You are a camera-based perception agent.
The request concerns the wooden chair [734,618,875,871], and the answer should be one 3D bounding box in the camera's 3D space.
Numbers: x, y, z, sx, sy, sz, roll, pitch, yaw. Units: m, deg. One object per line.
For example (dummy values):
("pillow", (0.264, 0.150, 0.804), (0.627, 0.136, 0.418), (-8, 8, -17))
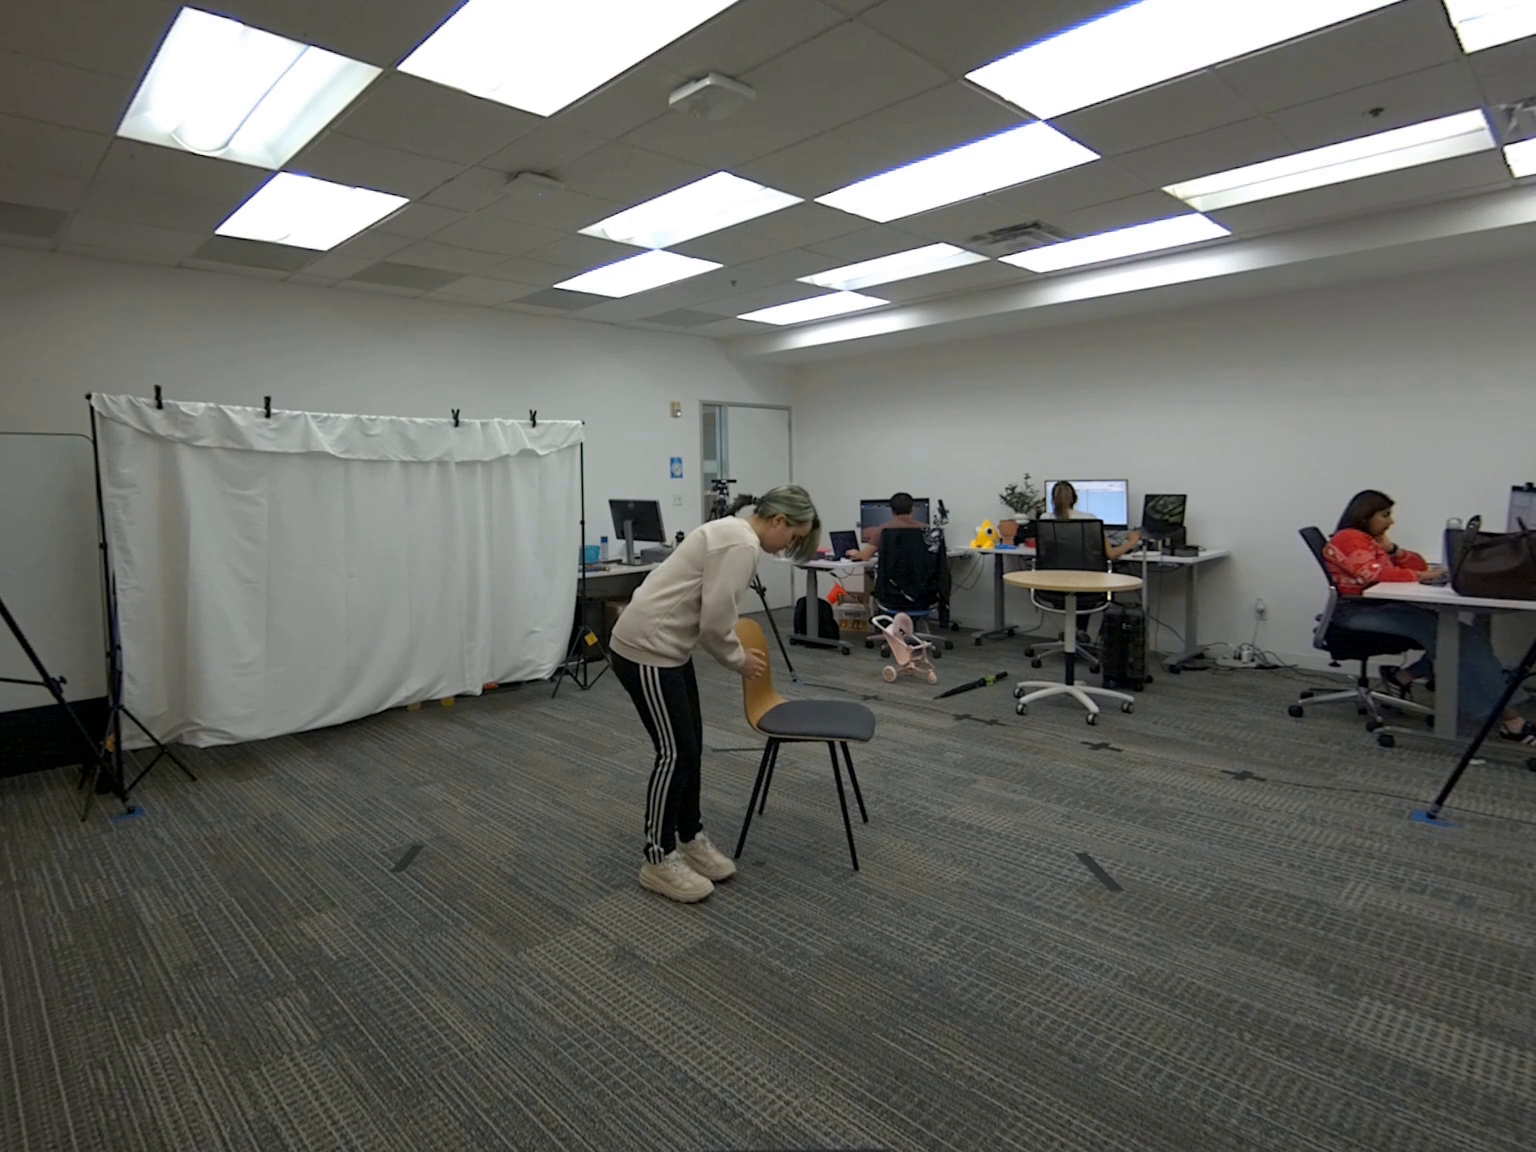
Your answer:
("wooden chair", (0.145, 0.596, 3.279), (0.530, 0.875, 0.473), (-3, 3, 14))
